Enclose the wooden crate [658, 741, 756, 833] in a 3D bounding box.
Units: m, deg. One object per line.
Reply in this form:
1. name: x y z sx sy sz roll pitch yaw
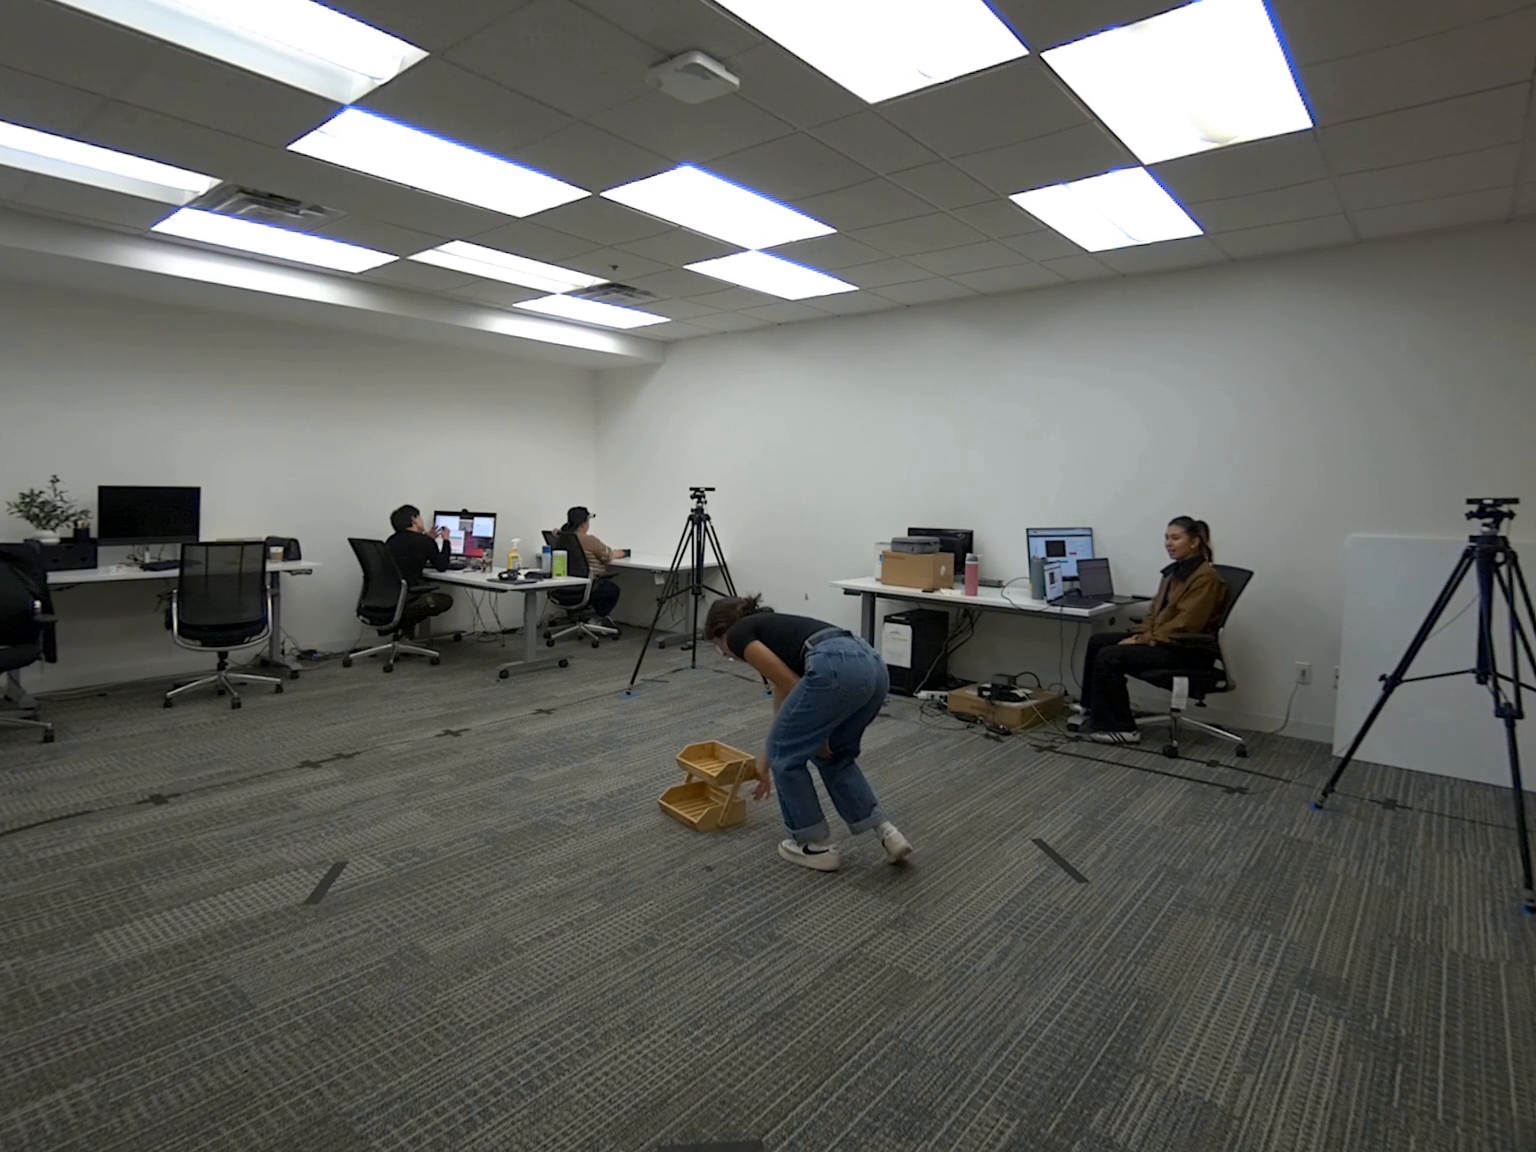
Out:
1. wooden crate: -0.278 0.881 3.624 0.293 0.272 0.335 -2 6 -38
